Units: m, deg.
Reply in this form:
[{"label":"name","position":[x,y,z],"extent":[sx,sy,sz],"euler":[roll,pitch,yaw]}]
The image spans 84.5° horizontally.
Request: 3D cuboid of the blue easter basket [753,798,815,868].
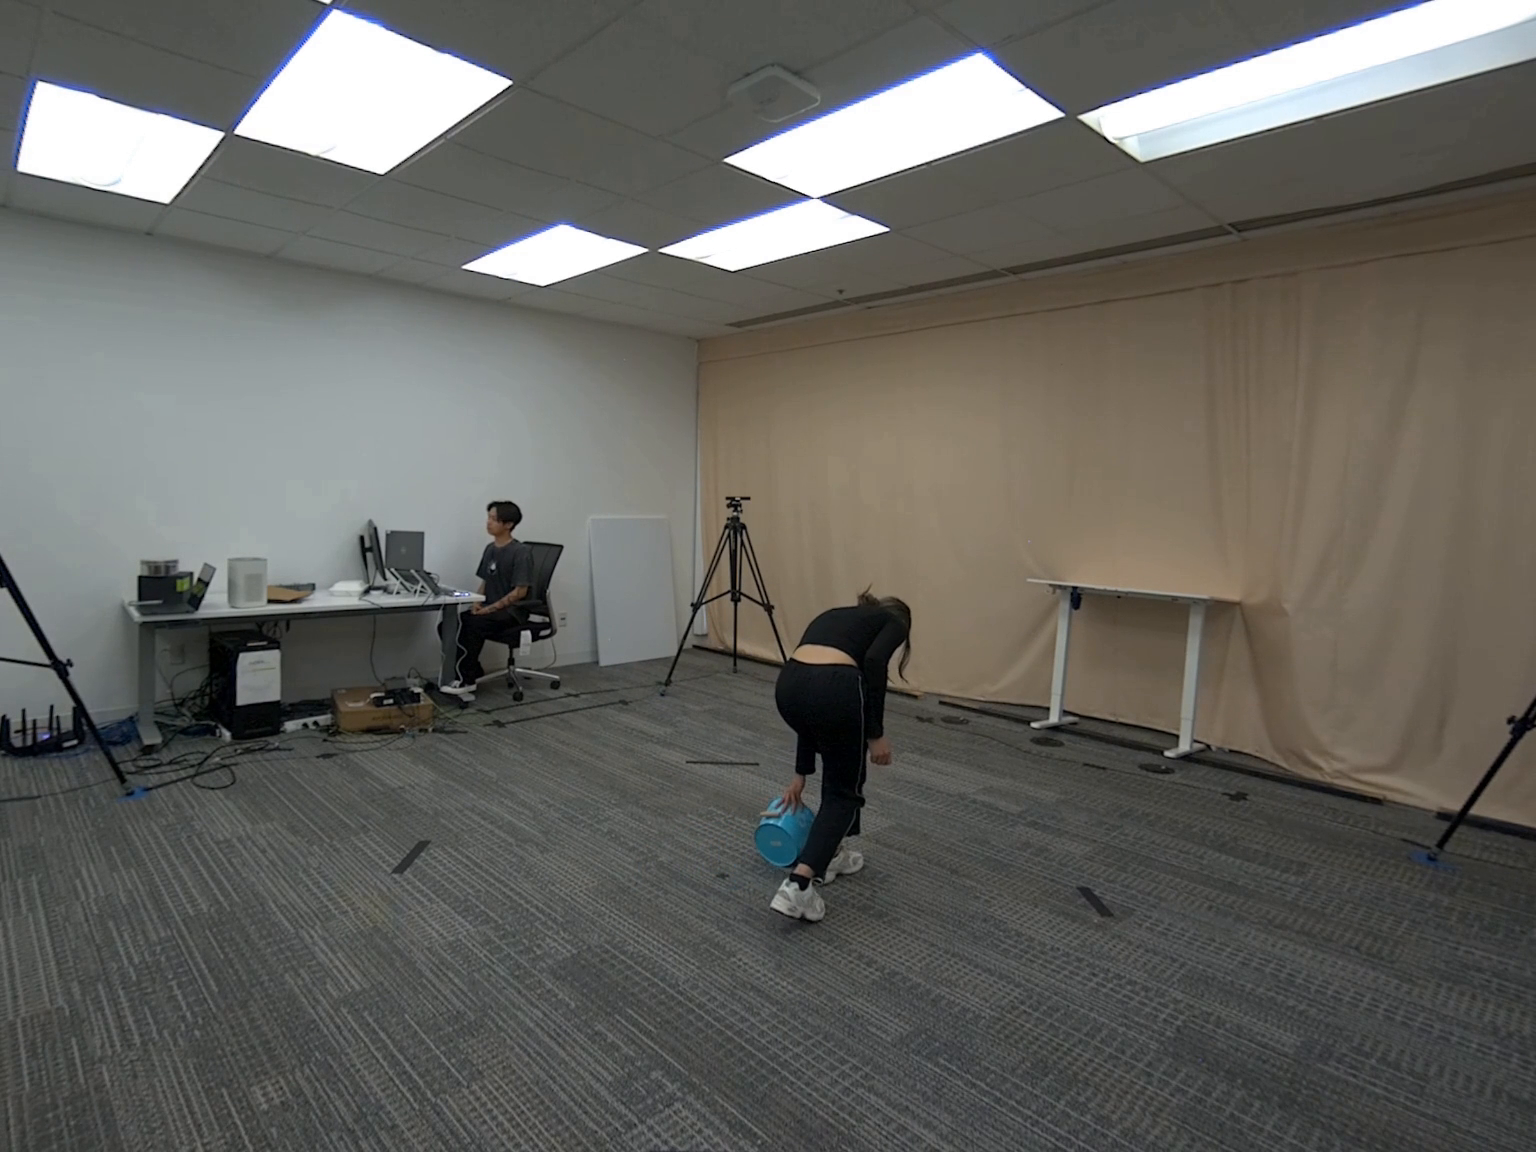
[{"label":"blue easter basket","position":[0.053,0.985,3.249],"extent":[0.249,0.240,0.154],"euler":[4,18,29]}]
